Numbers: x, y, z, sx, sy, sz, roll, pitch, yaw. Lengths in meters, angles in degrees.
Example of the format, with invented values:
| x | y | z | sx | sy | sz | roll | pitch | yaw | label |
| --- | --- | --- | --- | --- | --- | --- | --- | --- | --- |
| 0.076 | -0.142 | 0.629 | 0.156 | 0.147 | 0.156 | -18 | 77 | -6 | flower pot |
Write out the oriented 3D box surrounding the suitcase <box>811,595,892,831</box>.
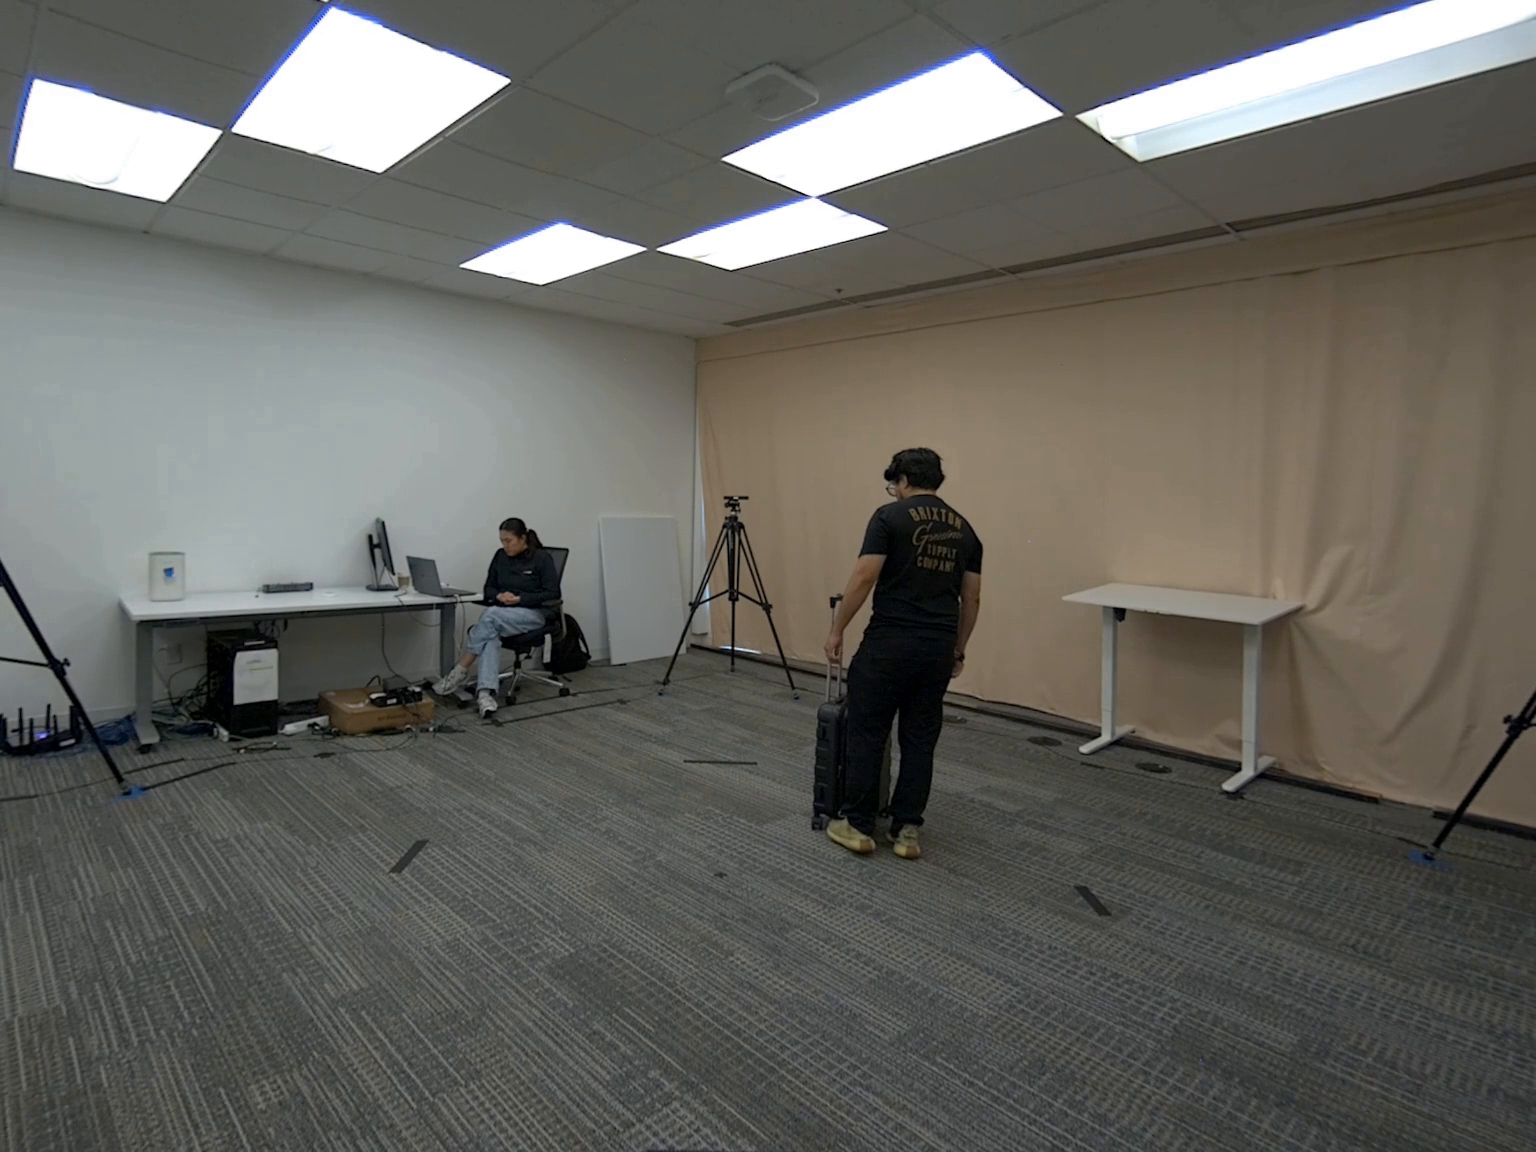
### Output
| x | y | z | sx | sy | sz | roll | pitch | yaw | label |
| --- | --- | --- | --- | --- | --- | --- | --- | --- | --- |
| 0.376 | 0.588 | 3.654 | 0.262 | 0.976 | 0.377 | 4 | 3 | 25 | suitcase |
